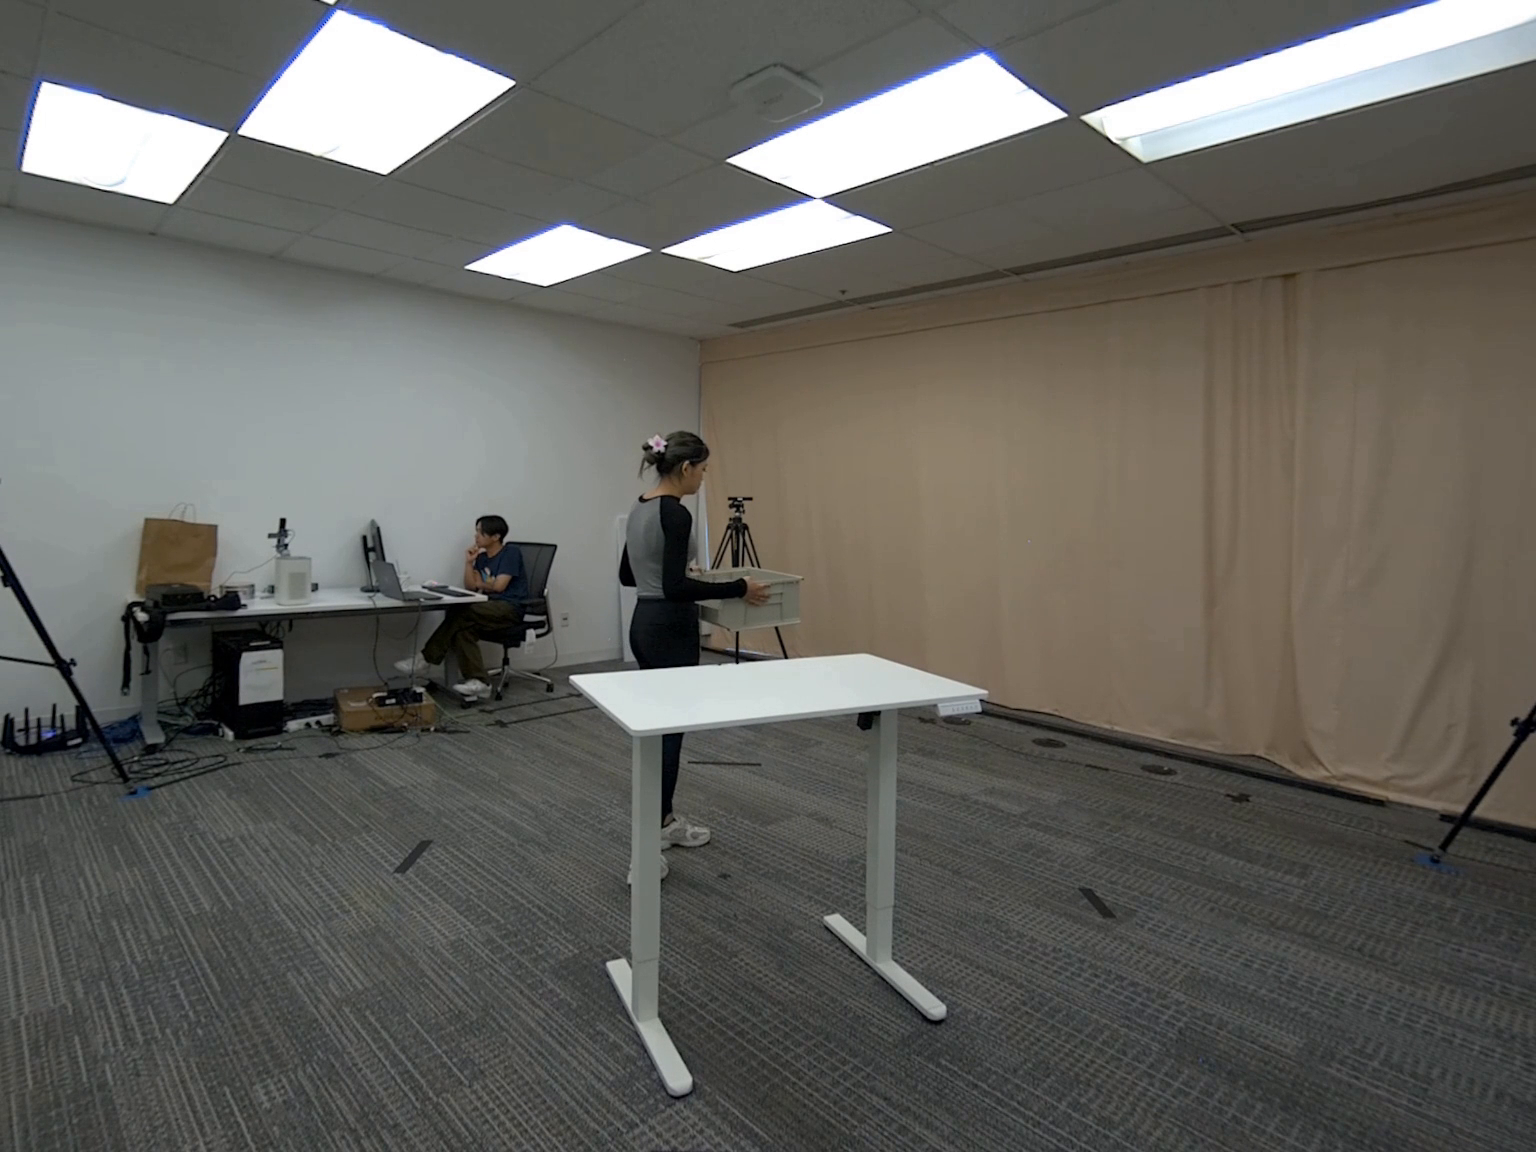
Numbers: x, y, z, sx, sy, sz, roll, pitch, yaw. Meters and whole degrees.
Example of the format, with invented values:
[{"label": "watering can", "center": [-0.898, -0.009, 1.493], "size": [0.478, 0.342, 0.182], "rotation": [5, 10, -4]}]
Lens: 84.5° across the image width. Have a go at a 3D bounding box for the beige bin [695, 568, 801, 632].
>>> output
[{"label": "beige bin", "center": [-0.141, 0.087, 3.340], "size": [0.370, 0.188, 0.432], "rotation": [-3, 6, -30]}]
